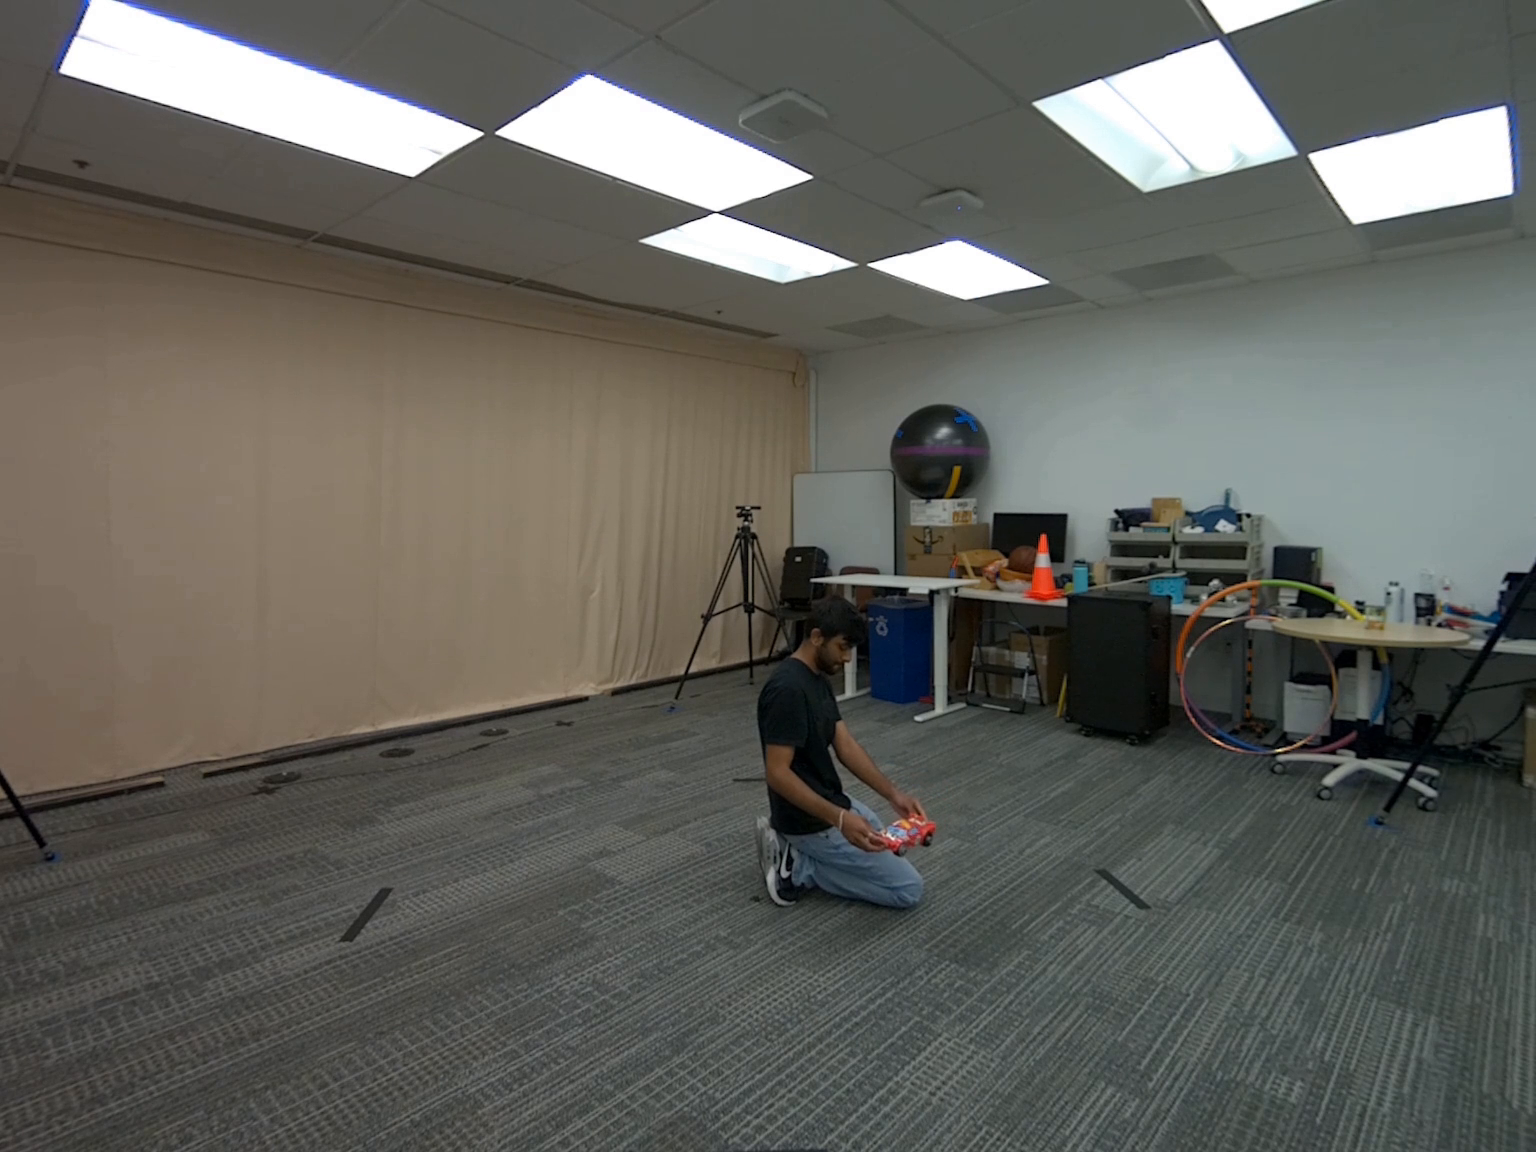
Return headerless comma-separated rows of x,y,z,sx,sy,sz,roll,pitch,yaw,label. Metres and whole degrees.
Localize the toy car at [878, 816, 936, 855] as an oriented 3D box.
0.439,0.822,2.677,0.135,0.082,0.248,6,15,45,toy car
